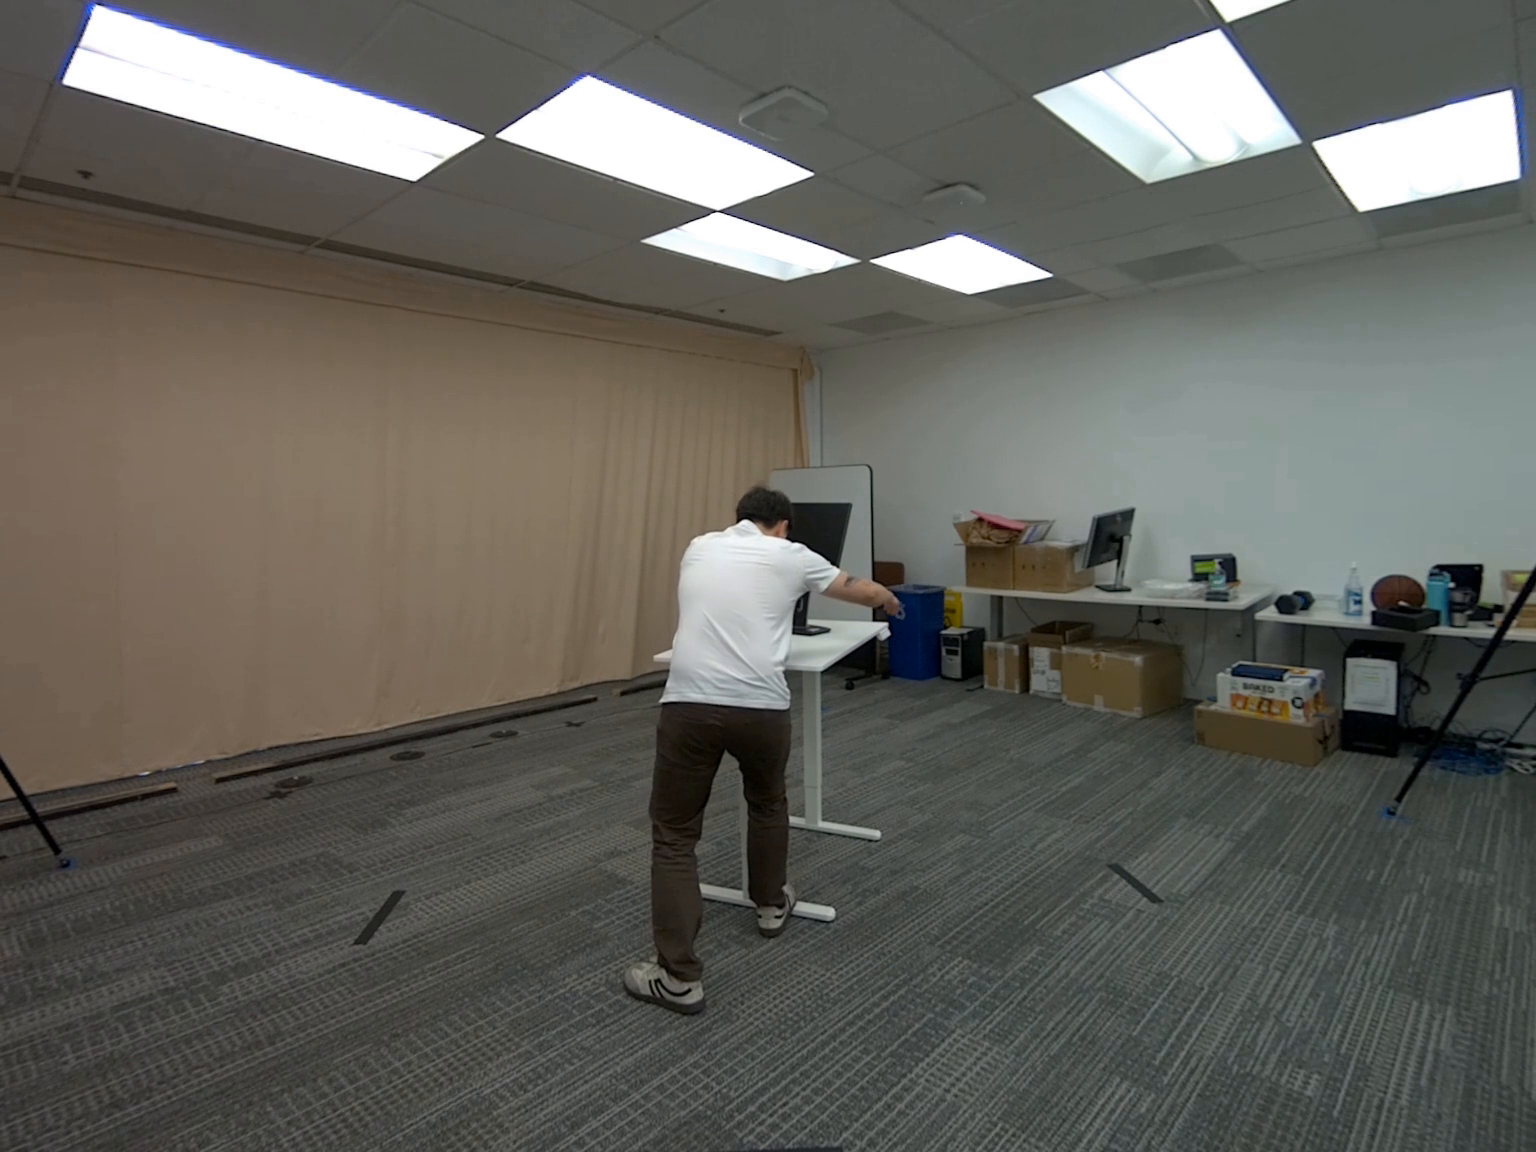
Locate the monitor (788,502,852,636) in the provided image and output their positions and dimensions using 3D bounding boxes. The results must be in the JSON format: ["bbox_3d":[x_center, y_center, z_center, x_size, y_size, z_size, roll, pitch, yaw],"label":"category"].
[{"bbox_3d":[0.114,-0.035,3.389,0.557,0.522,0.181,4,2,43],"label":"monitor"}]
